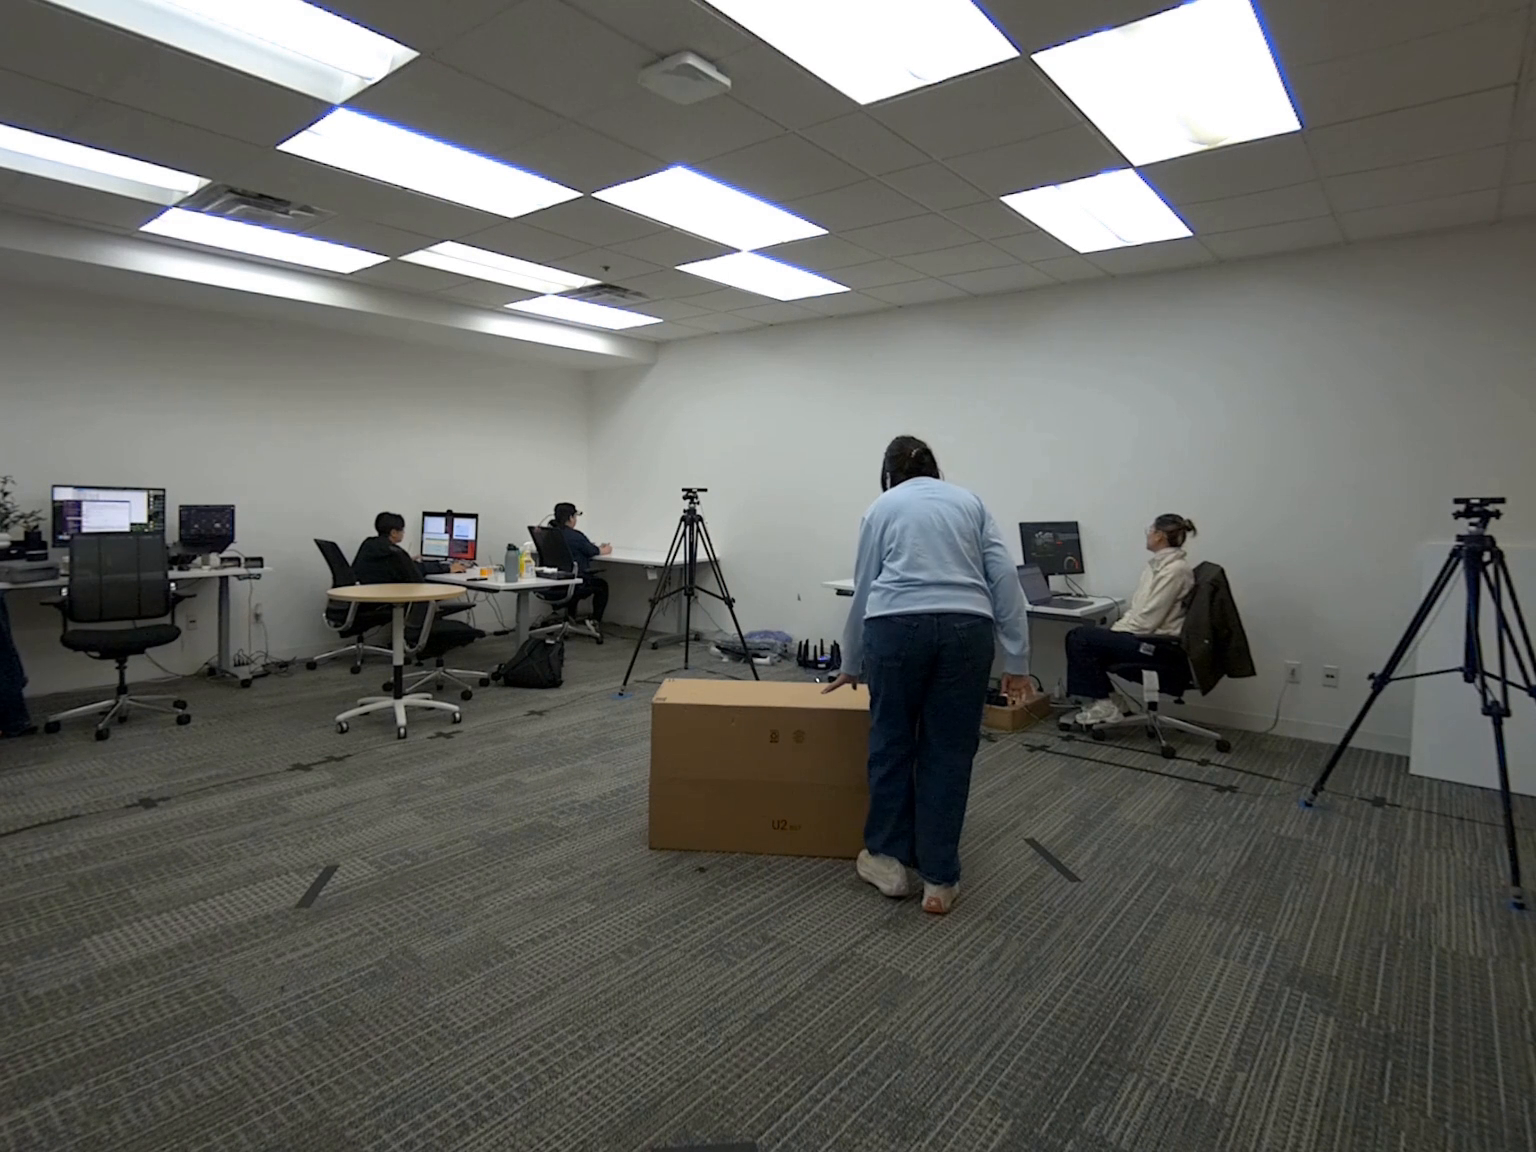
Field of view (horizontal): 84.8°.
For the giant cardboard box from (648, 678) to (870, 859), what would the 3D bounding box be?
[{"bbox_3d":[0.046,0.749,3.436,1.030,0.576,0.425,1,3,4],"label":"giant cardboard box"}]
